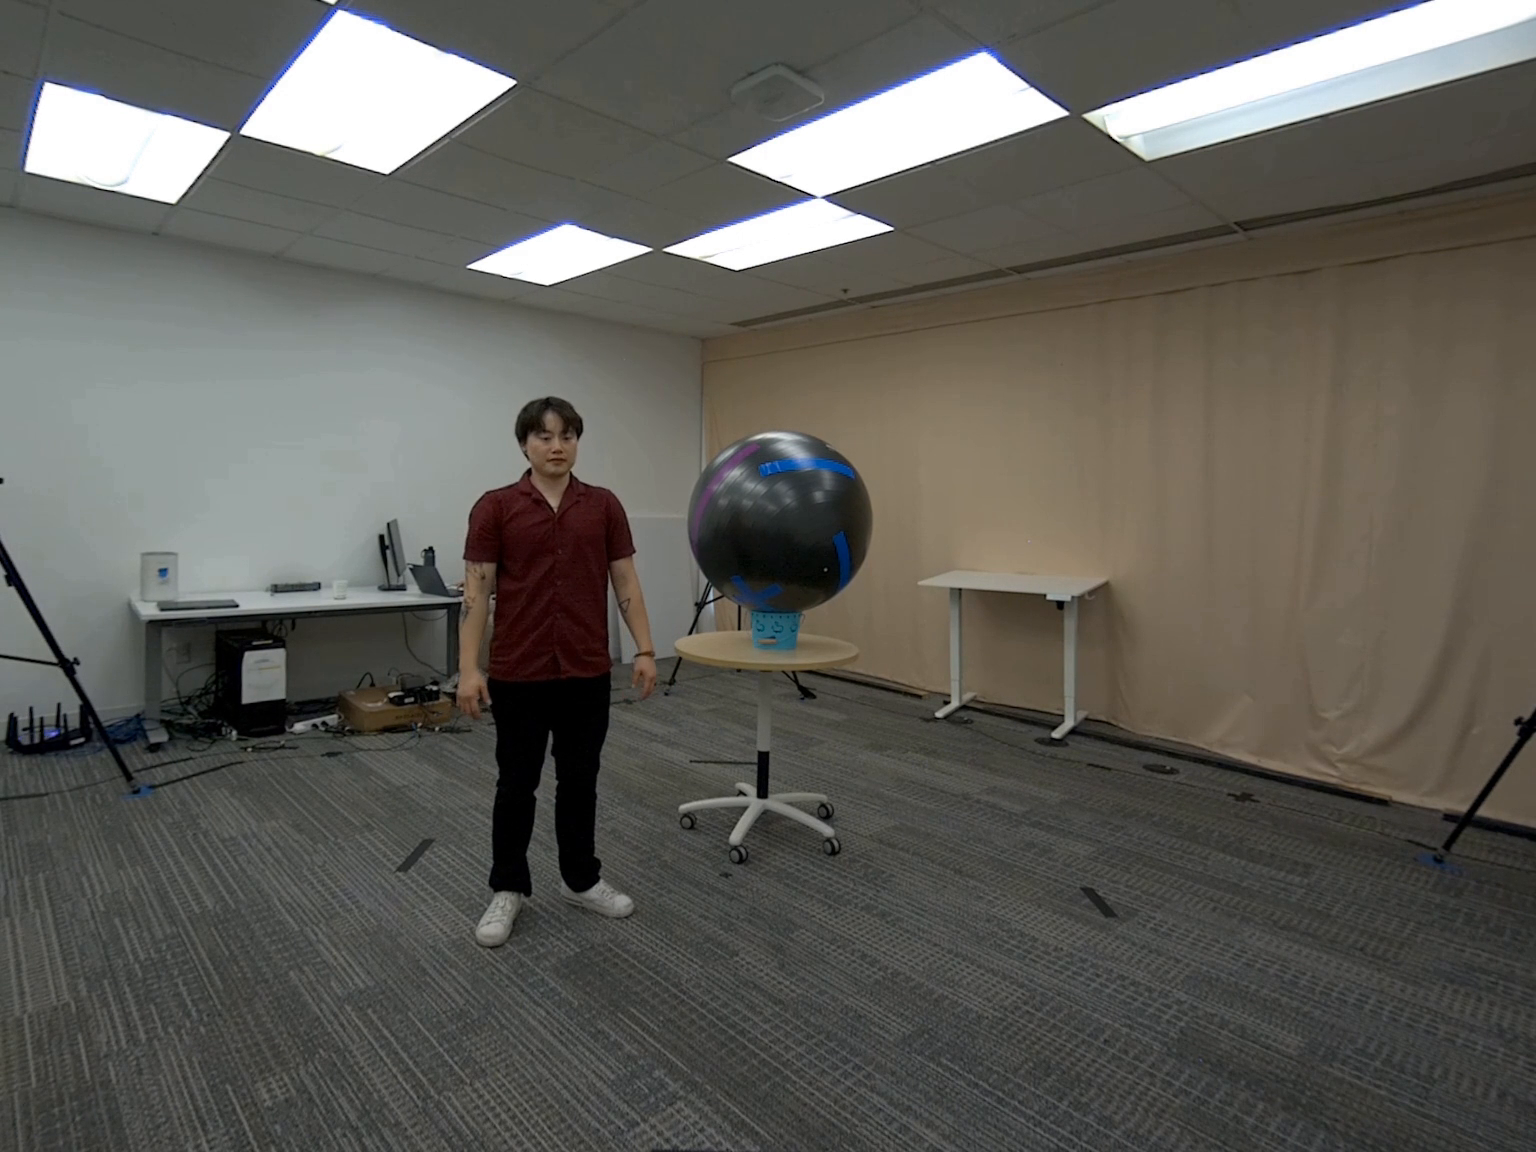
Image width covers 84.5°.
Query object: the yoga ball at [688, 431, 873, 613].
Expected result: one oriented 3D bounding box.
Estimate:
[{"bbox_3d":[0.042,-0.214,3.478,0.757,0.756,0.761,1,4,-1],"label":"yoga ball"}]
